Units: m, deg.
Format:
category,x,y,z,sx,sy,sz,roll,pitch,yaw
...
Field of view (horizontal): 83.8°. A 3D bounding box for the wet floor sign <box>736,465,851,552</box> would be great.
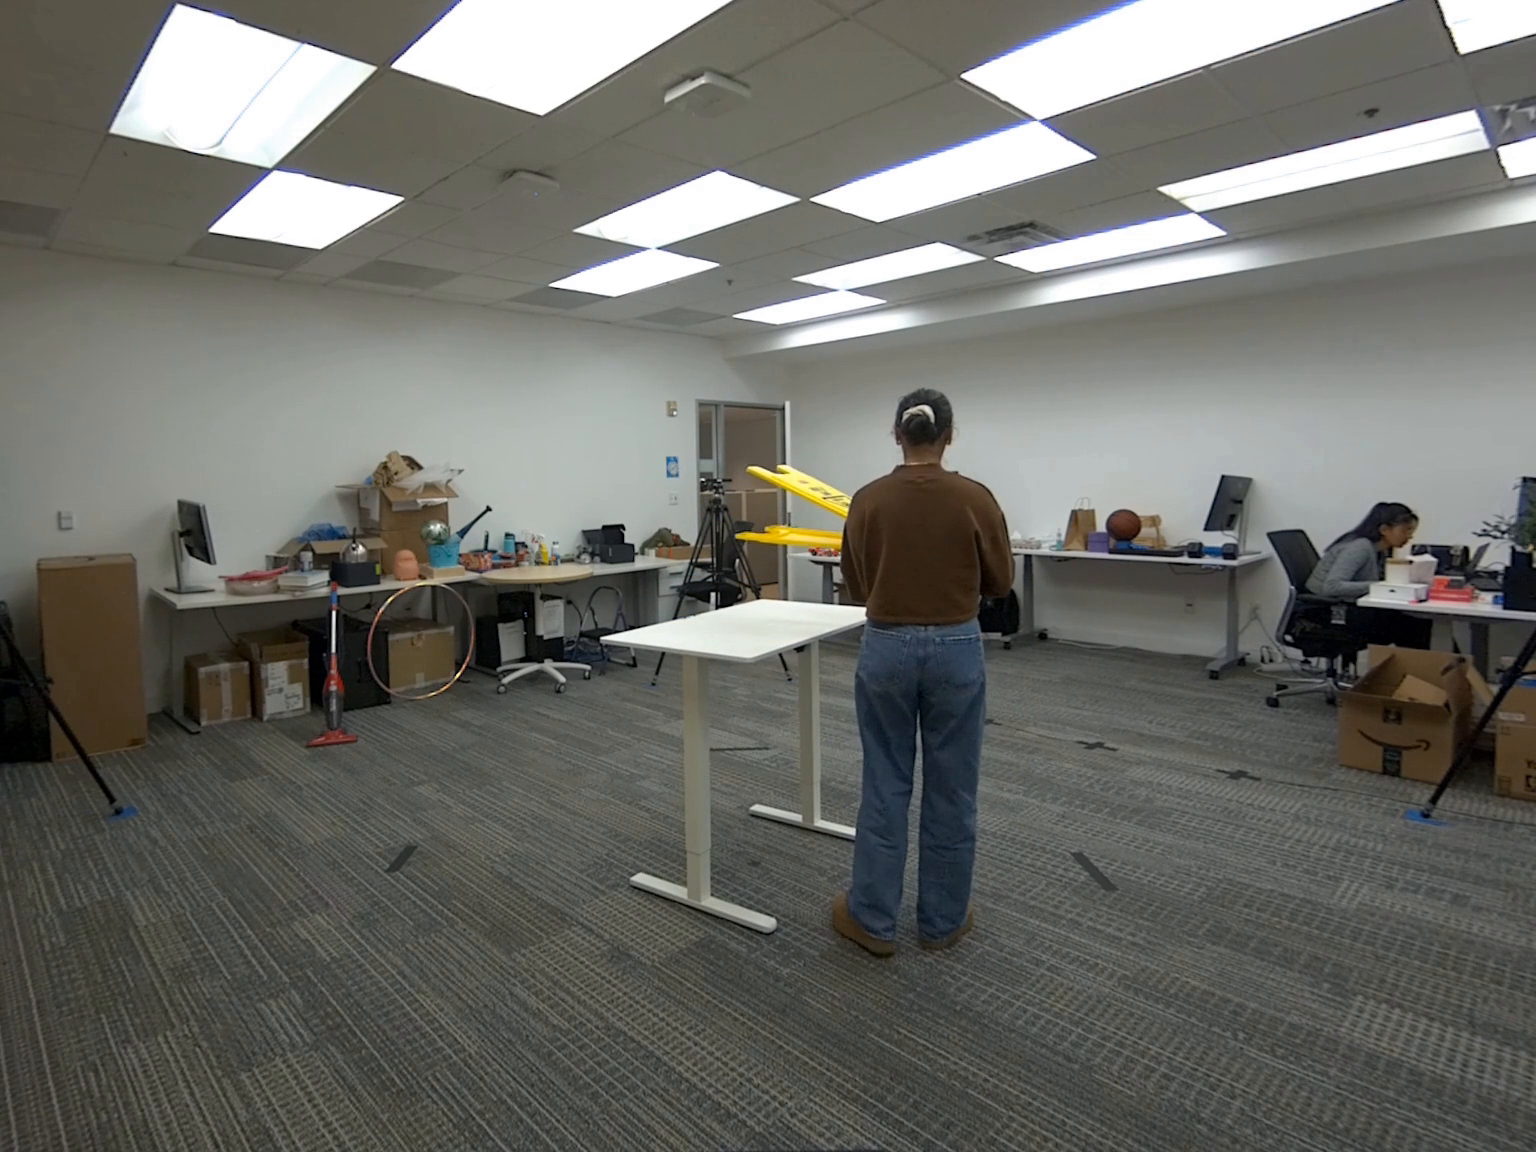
category,x,y,z,sx,sy,sz,roll,pitch,yaw
wet floor sign,0.249,-0.178,2.948,0.666,0.287,0.276,17,15,29
